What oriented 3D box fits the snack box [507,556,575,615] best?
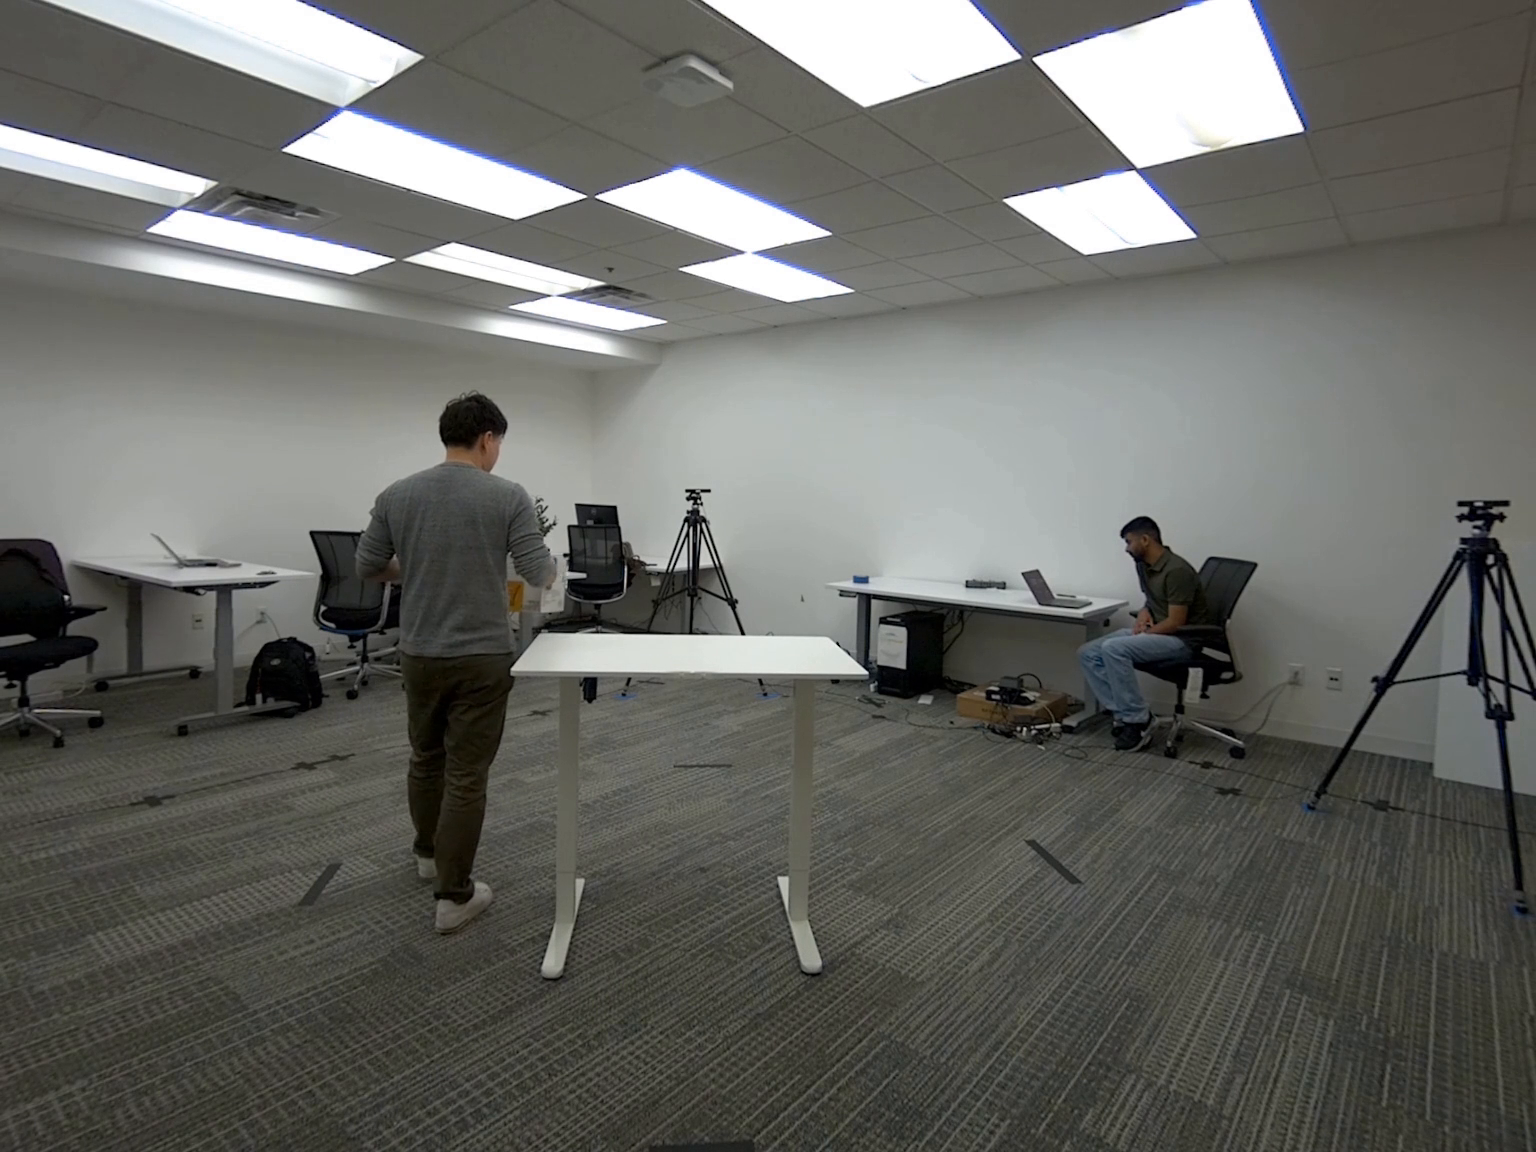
[{"bbox_3d":[-0.990,0.023,3.106,0.407,0.206,0.339,3,-1,2],"label":"snack box"}]
